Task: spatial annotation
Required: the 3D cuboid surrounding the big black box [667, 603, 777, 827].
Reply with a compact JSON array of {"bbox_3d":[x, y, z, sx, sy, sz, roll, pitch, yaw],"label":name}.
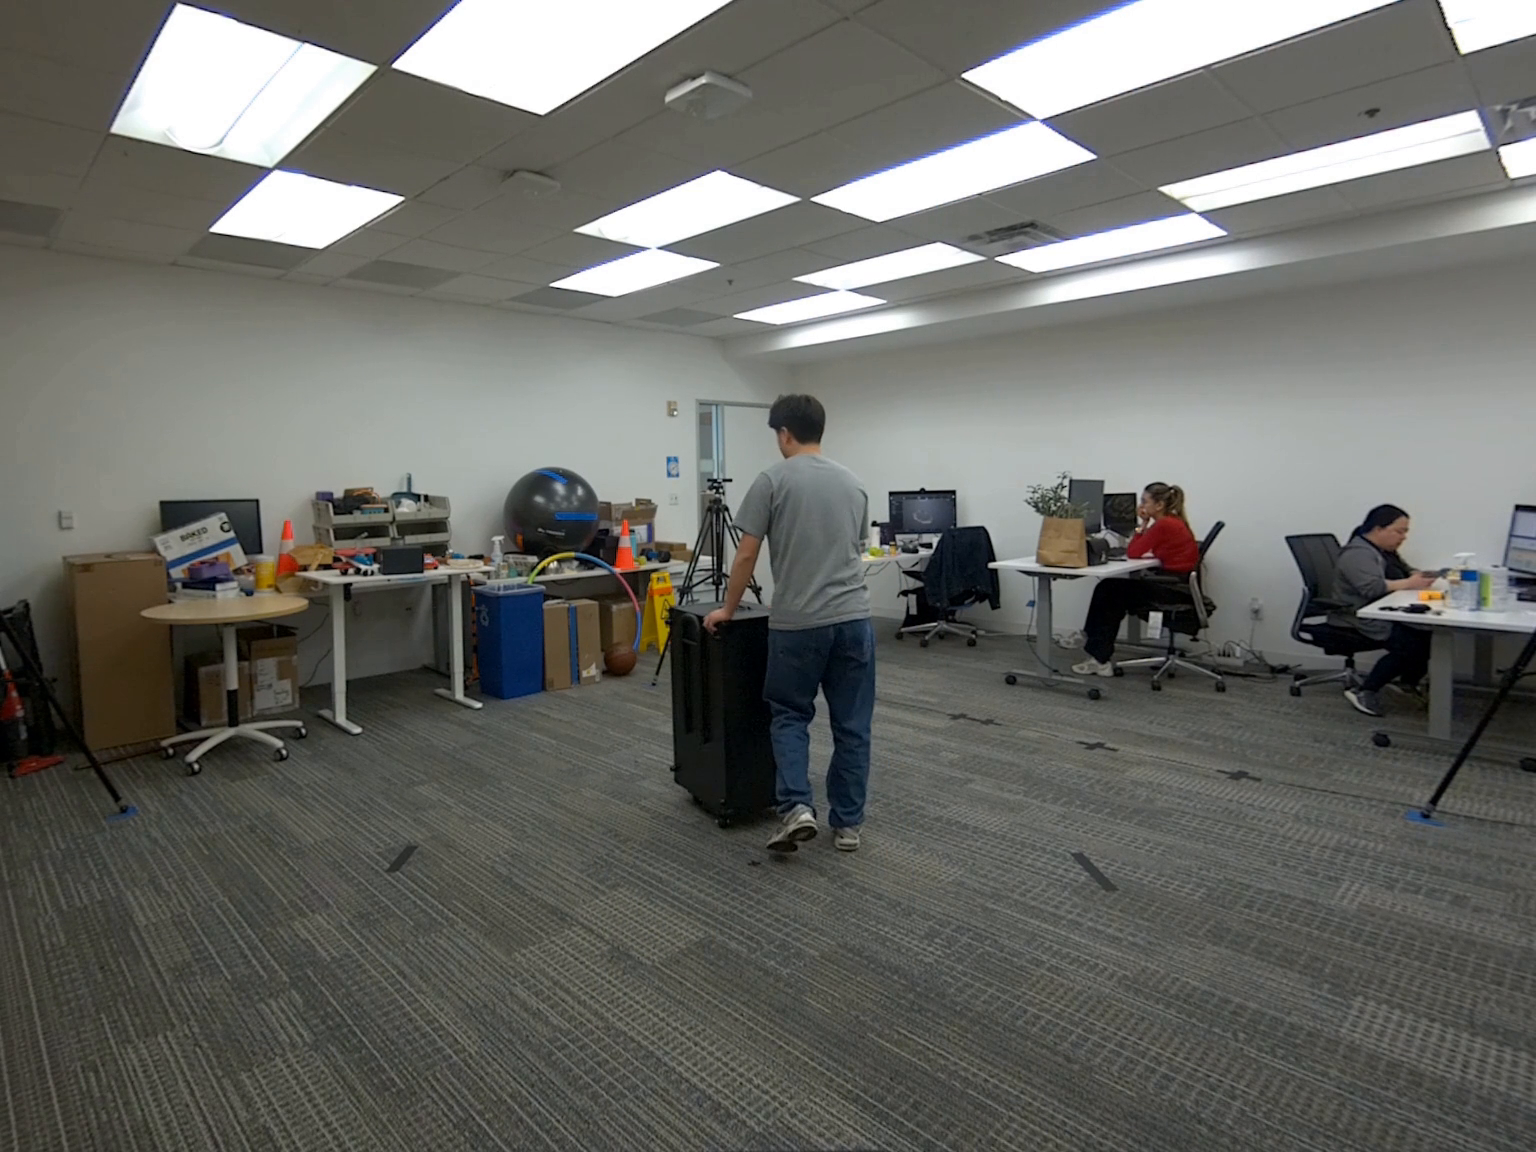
[{"bbox_3d":[-0.159,0.570,3.614,0.387,0.858,0.535,-4,6,-29],"label":"big black box"}]
